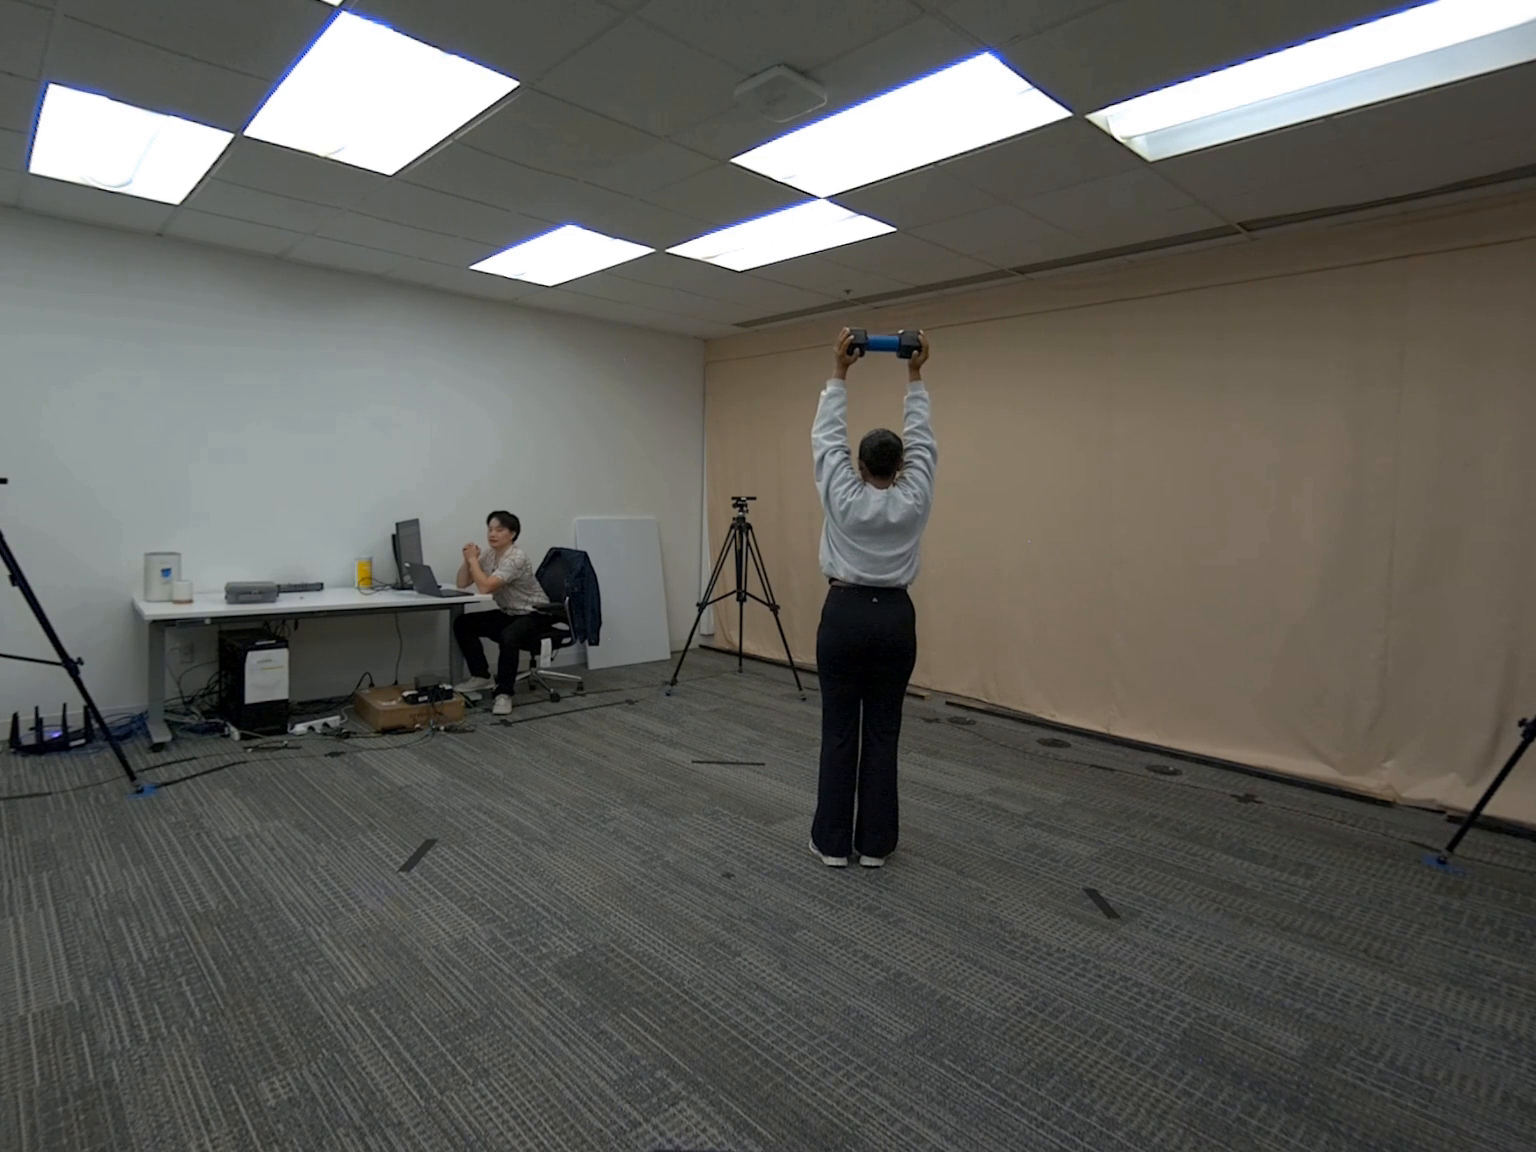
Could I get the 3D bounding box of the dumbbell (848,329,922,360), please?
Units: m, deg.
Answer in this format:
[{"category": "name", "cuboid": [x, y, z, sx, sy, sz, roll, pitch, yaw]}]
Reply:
[{"category": "dumbbell", "cuboid": [0.420, -0.891, 3.243, 0.293, 0.124, 0.107, 2, -18, -2]}]
